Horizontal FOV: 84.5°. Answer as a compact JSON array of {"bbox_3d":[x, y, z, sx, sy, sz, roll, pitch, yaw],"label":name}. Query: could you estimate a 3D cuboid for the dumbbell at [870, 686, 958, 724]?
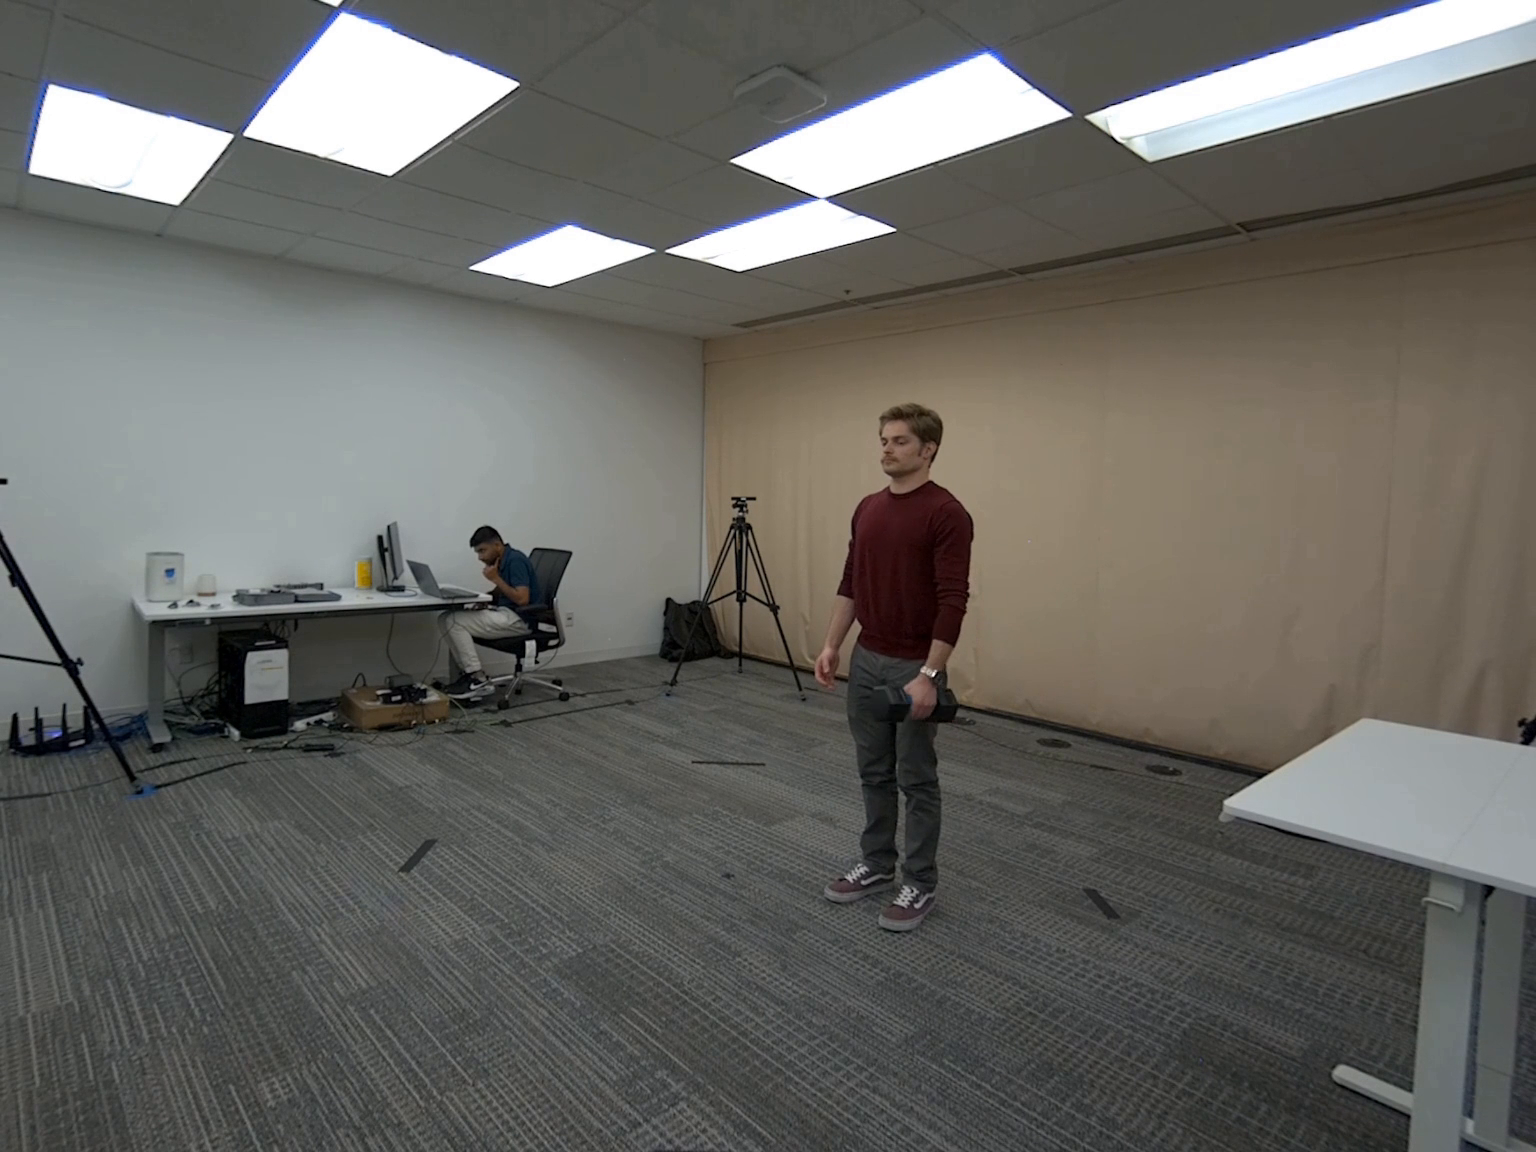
[{"bbox_3d":[0.433,0.395,2.618,0.286,0.126,0.108,7,-41,-33],"label":"dumbbell"}]
